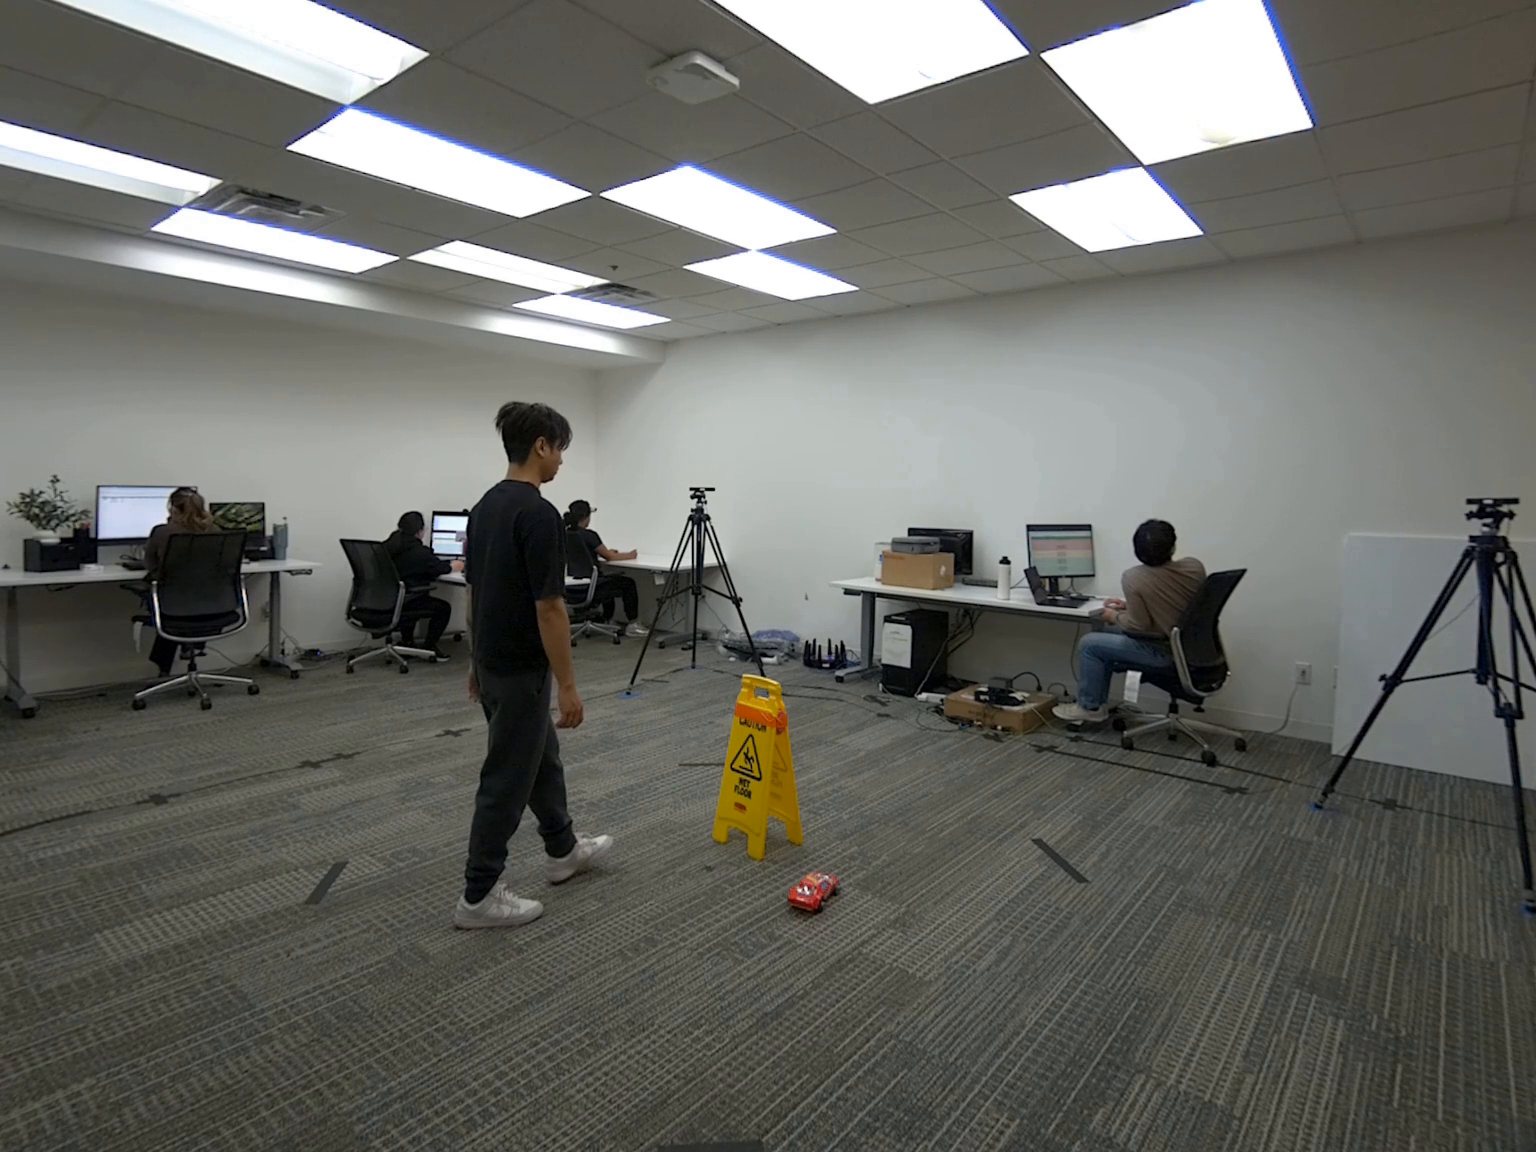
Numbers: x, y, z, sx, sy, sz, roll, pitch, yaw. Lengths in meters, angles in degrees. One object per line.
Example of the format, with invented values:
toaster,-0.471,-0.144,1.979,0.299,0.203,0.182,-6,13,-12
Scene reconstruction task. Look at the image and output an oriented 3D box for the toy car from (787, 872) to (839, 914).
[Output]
toy car,0.147,1.070,2.878,0.134,0.083,0.246,5,-5,27
